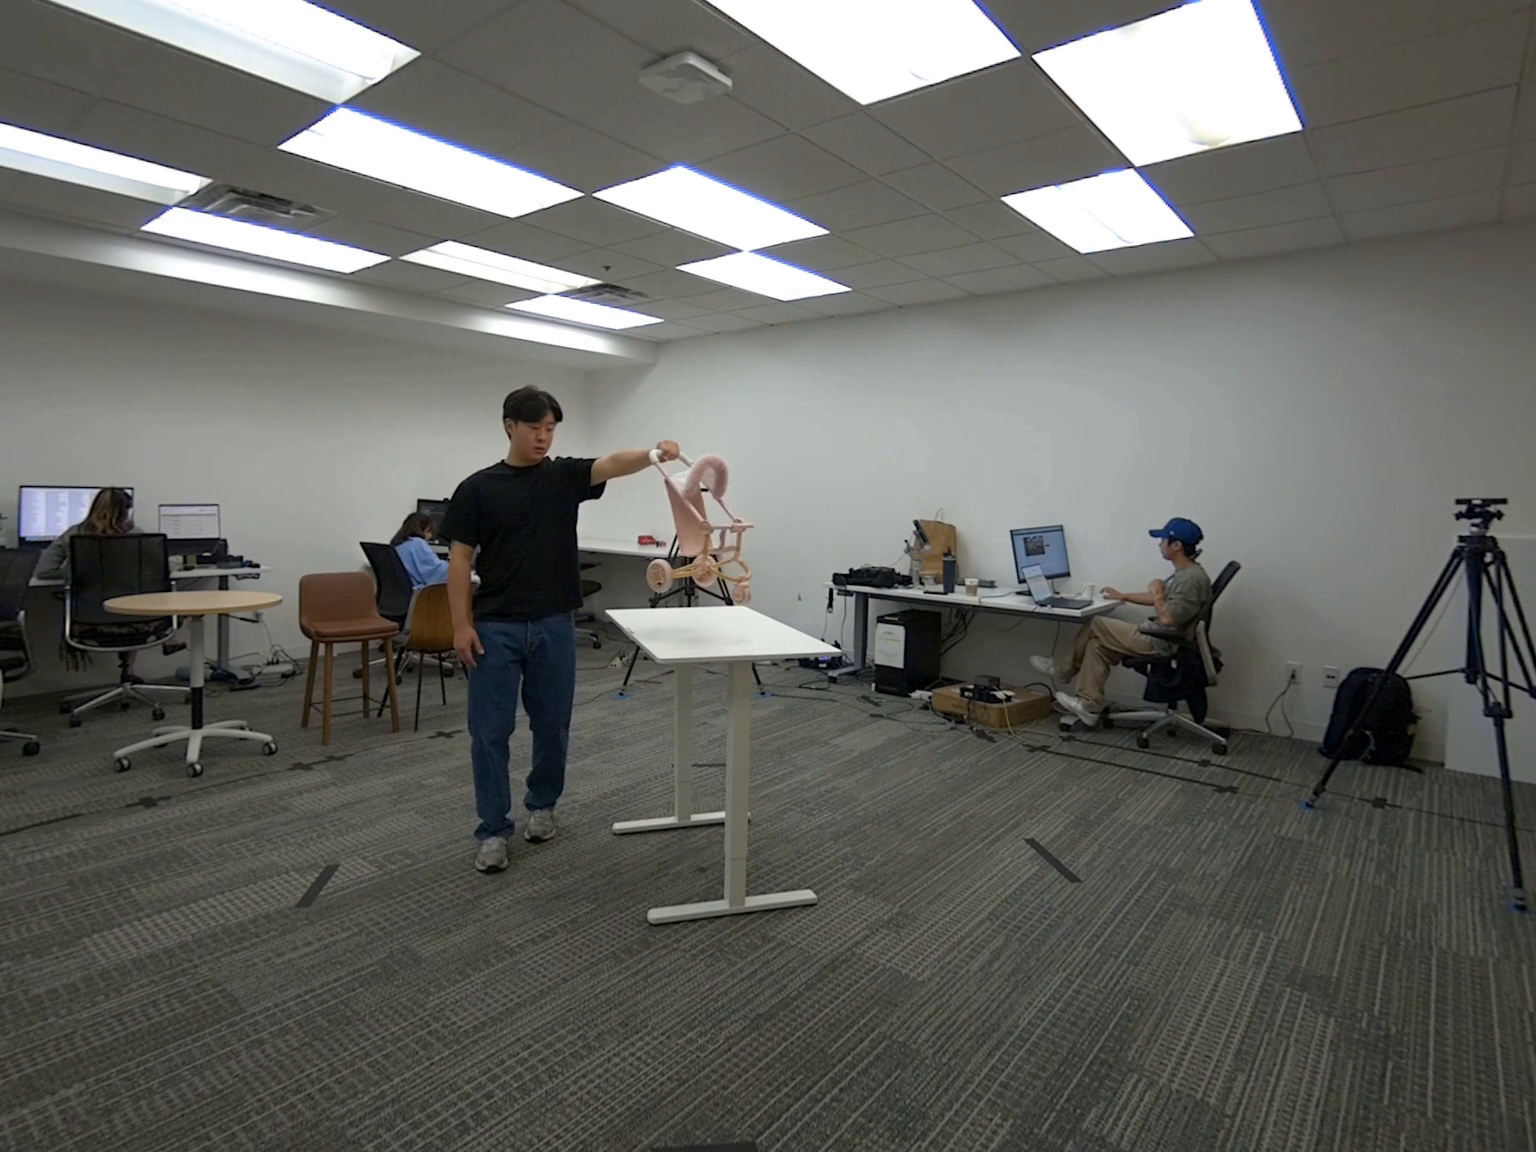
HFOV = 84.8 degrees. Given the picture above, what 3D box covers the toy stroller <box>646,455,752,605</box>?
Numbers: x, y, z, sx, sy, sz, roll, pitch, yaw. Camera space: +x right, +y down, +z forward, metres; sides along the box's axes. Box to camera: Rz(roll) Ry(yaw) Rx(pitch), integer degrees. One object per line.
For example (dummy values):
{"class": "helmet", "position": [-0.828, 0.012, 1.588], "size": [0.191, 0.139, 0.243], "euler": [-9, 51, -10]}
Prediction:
{"class": "toy stroller", "position": [-0.225, -0.165, 2.835], "size": [0.352, 0.535, 0.273], "euler": [-2, 1, 38]}
